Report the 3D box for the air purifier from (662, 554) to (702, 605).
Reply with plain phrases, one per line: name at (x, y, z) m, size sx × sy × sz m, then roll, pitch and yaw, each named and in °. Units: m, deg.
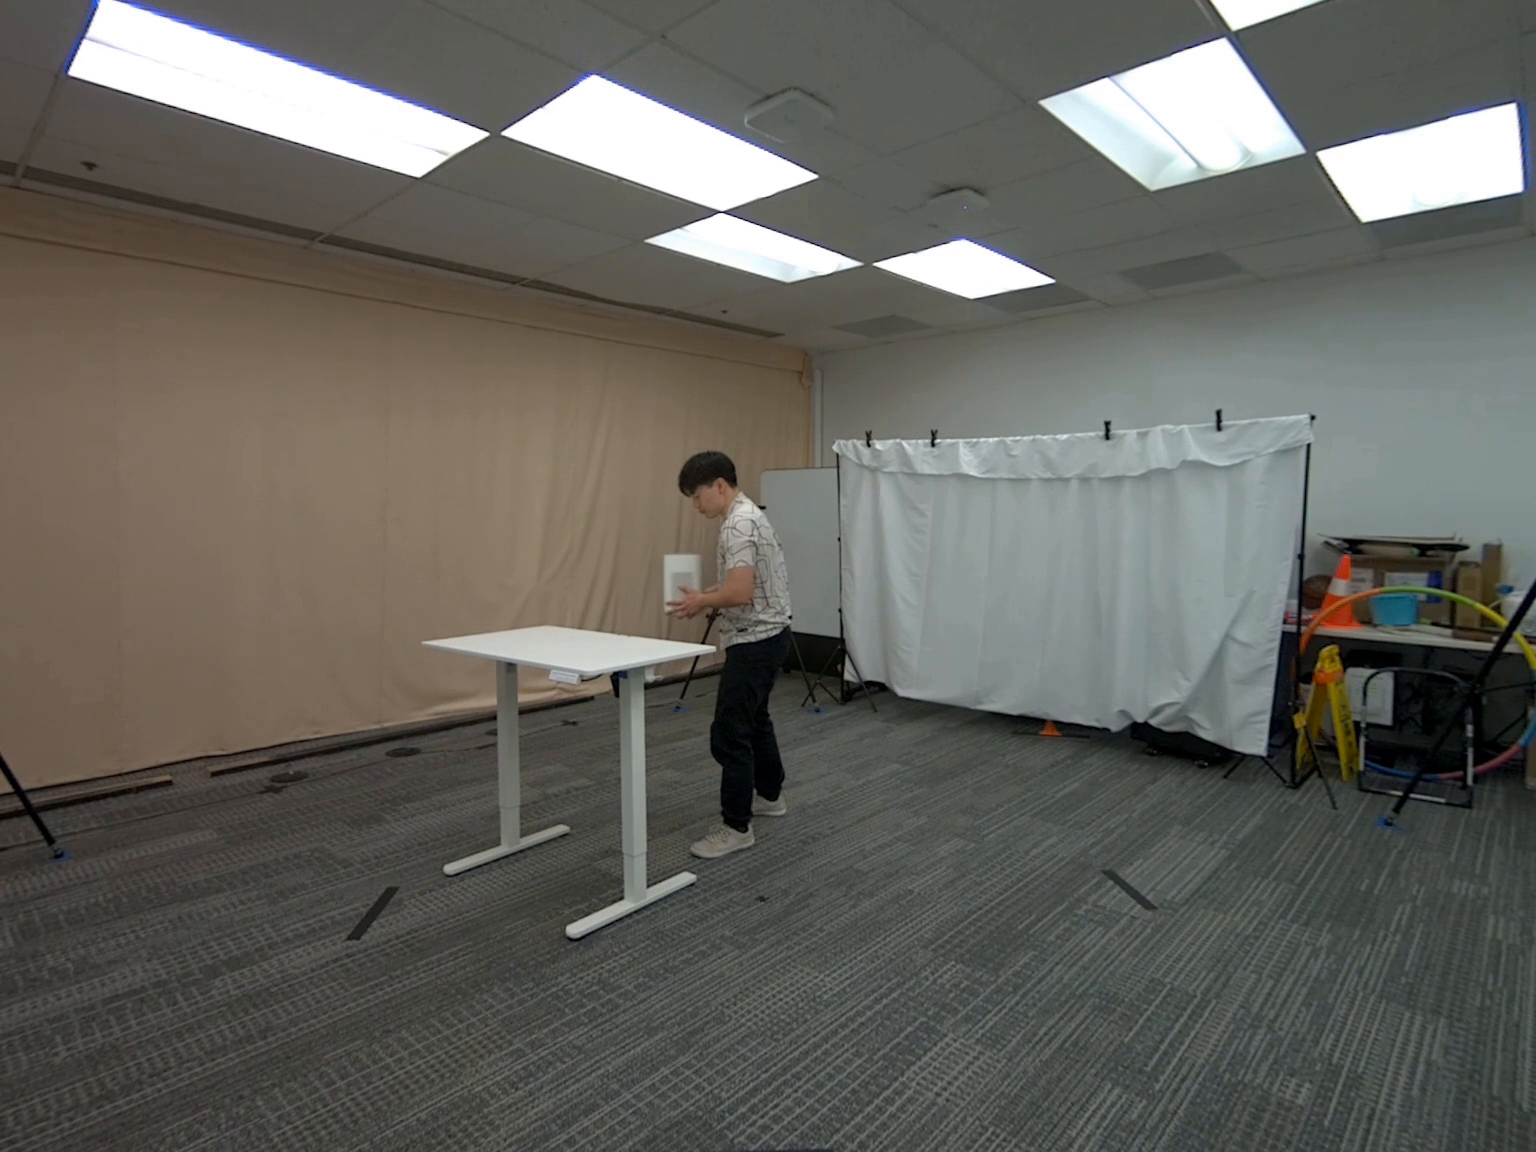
air purifier at (-0.359, 0.038, 3.605) m, size 0.171 × 0.265 × 0.171 m, roll 1°, pitch -1°, yaw -3°
